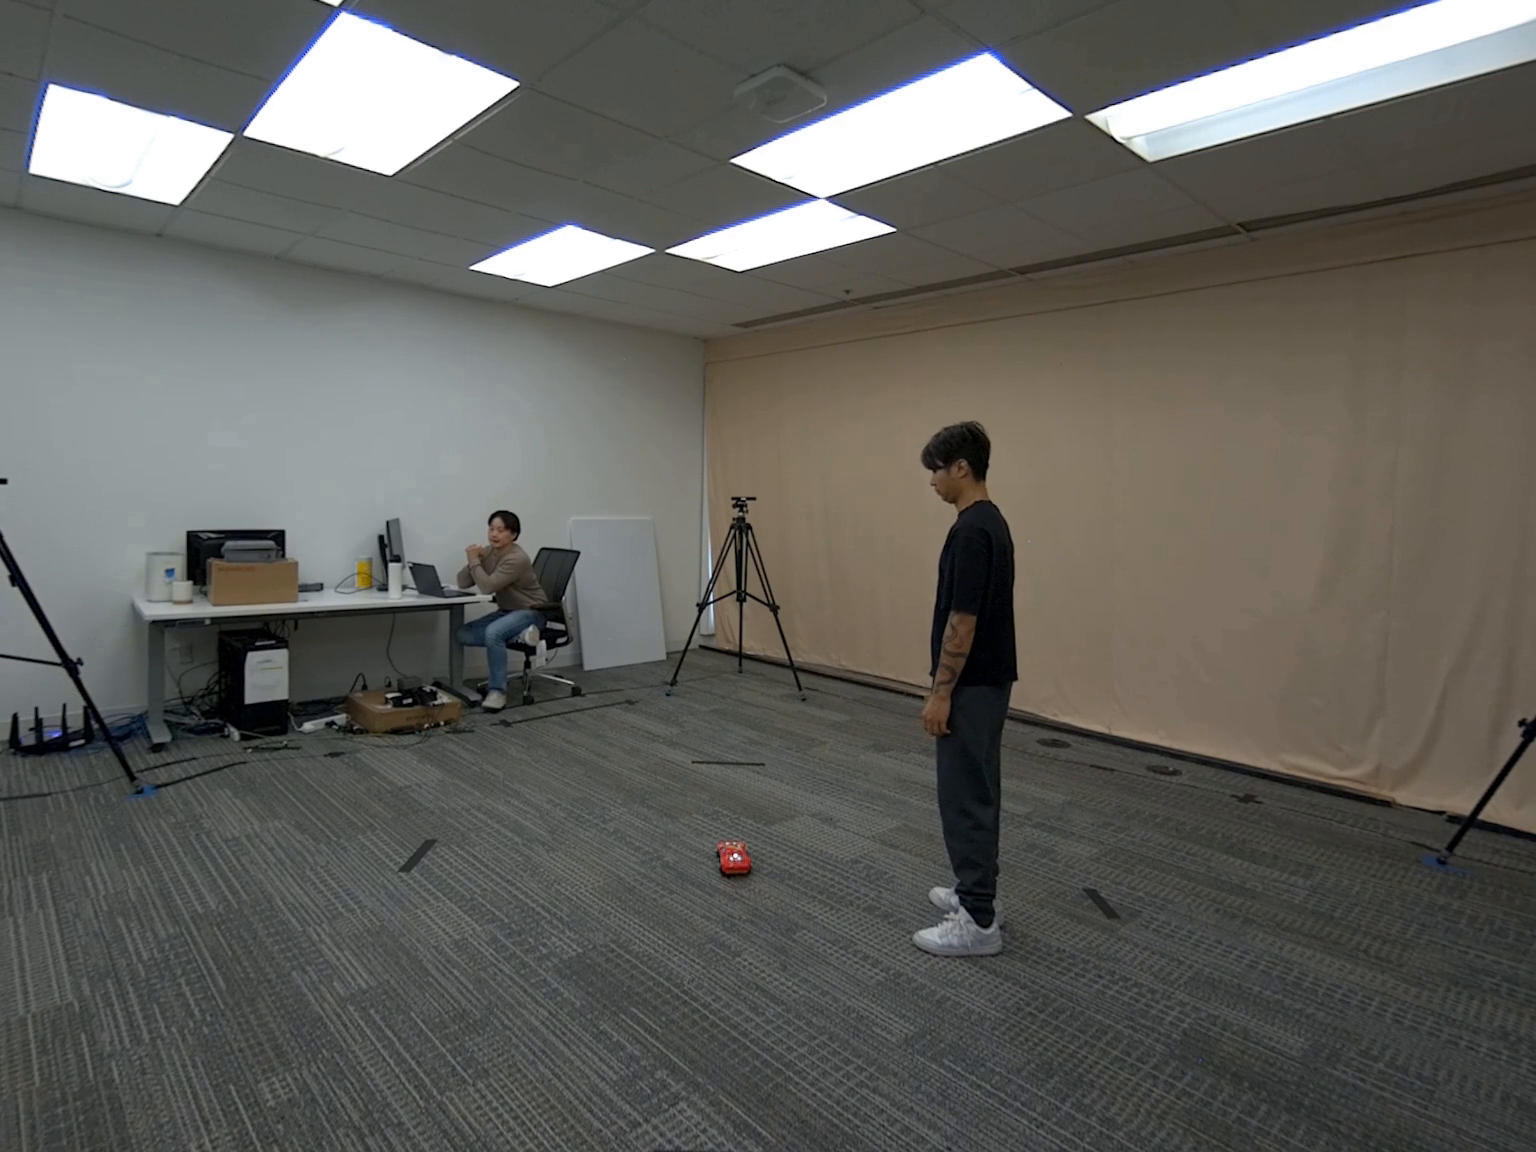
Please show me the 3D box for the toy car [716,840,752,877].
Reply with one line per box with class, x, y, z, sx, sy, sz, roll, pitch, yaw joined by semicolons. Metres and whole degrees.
toy car;-0.135;1.069;3.181;0.130;0.084;0.254;1;-7;-7
